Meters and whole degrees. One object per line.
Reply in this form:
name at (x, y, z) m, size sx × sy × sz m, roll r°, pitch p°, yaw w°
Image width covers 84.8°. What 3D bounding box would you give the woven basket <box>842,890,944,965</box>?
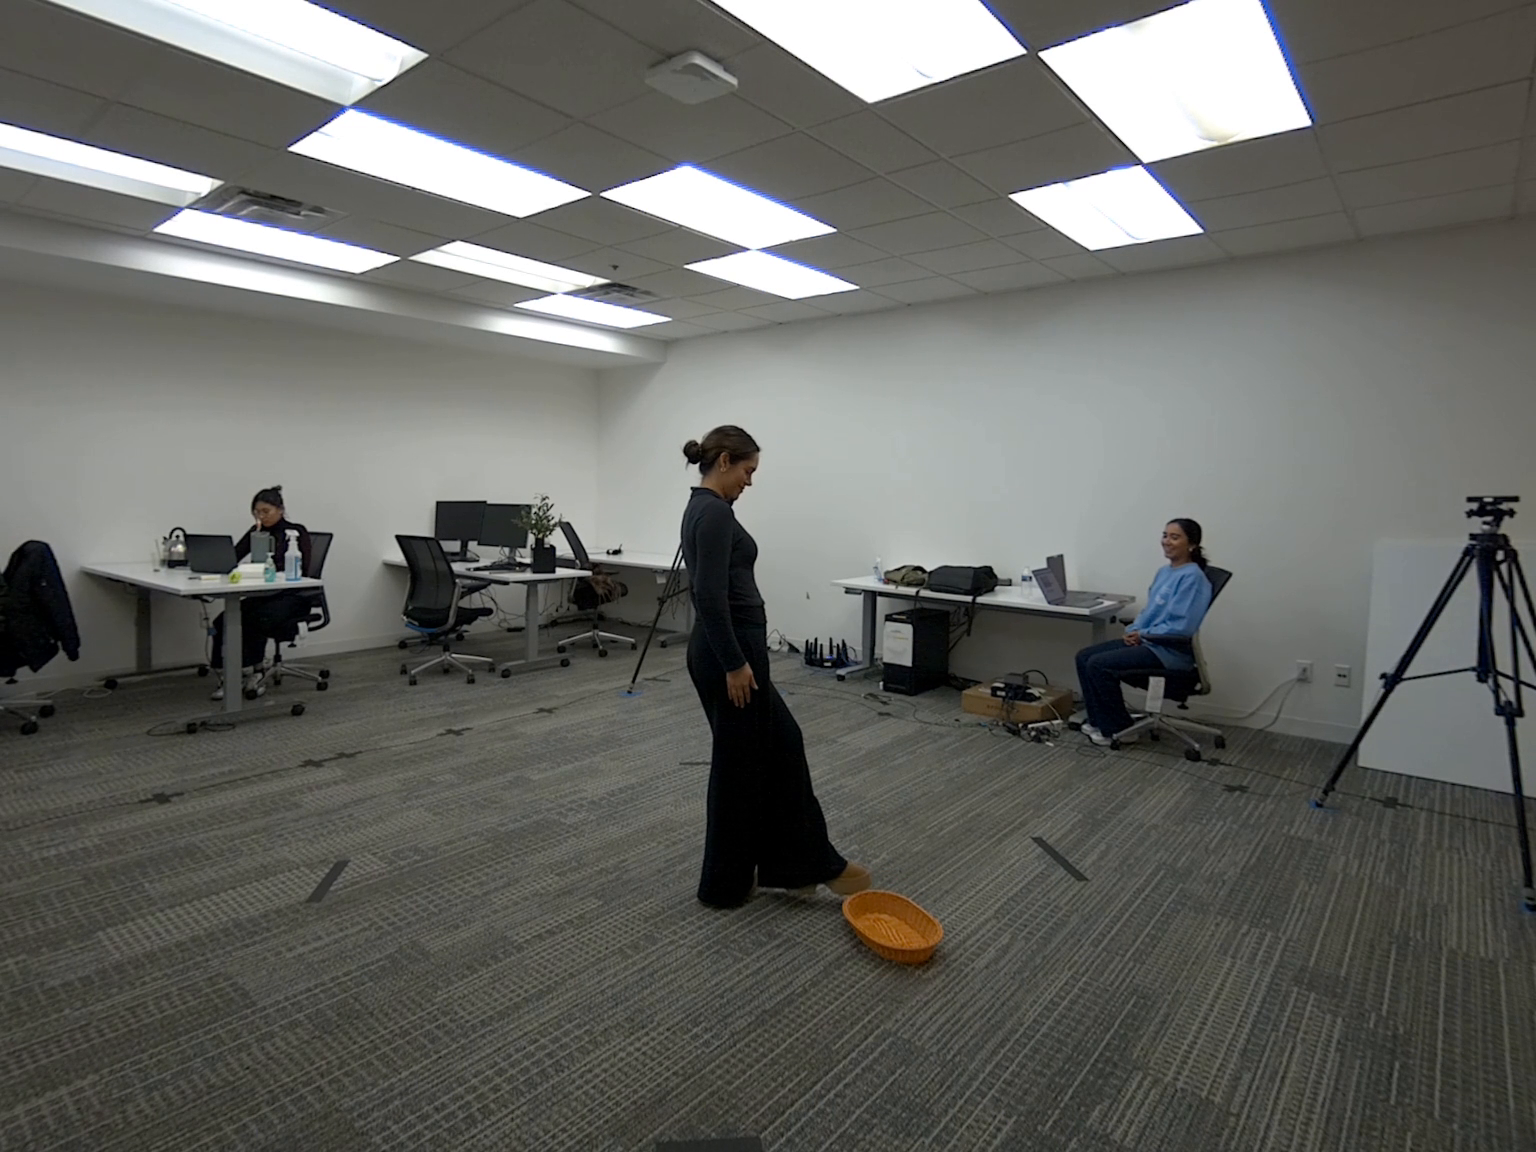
woven basket at (0.377, 1.084, 2.635) m, size 0.246 × 0.073 × 0.360 m, roll -4°, pitch 7°, yaw -26°
